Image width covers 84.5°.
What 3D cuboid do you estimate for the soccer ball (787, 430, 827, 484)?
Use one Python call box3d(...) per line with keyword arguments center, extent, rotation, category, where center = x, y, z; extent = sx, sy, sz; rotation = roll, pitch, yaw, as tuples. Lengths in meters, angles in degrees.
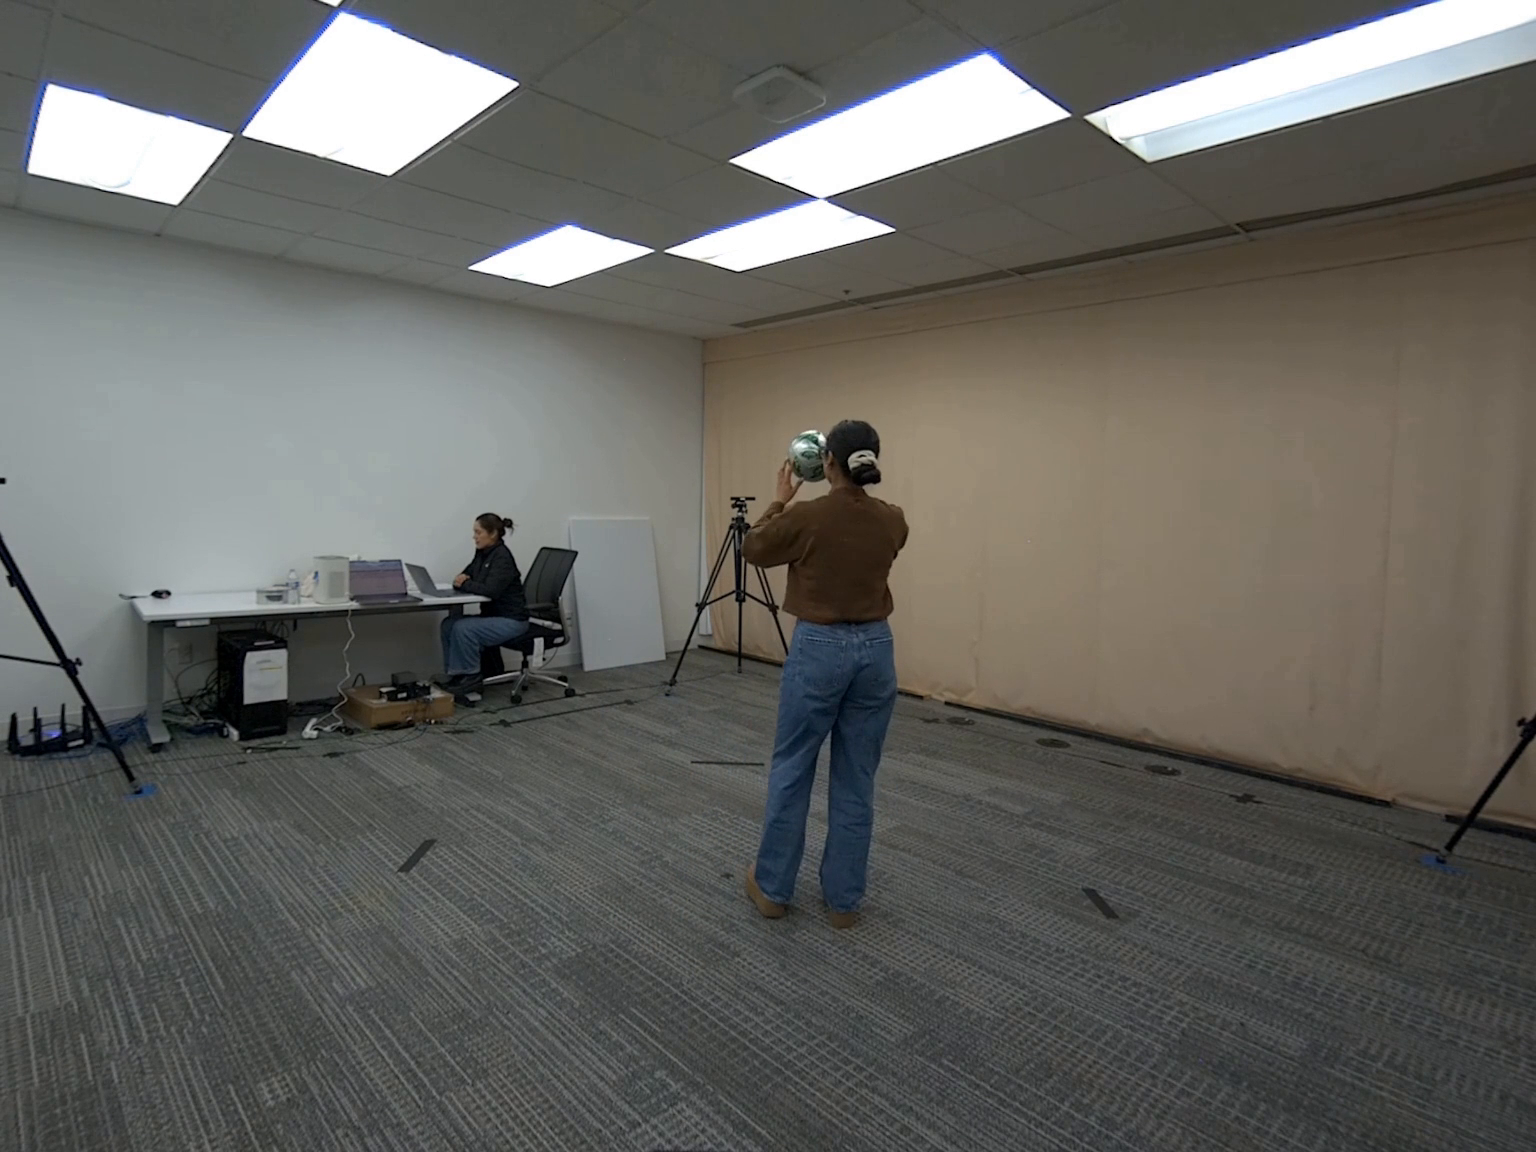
box3d(center=(0.161, -0.429, 3.054), extent=(0.187, 0.187, 0.188), rotation=(1, 4, -1), category="soccer ball")
